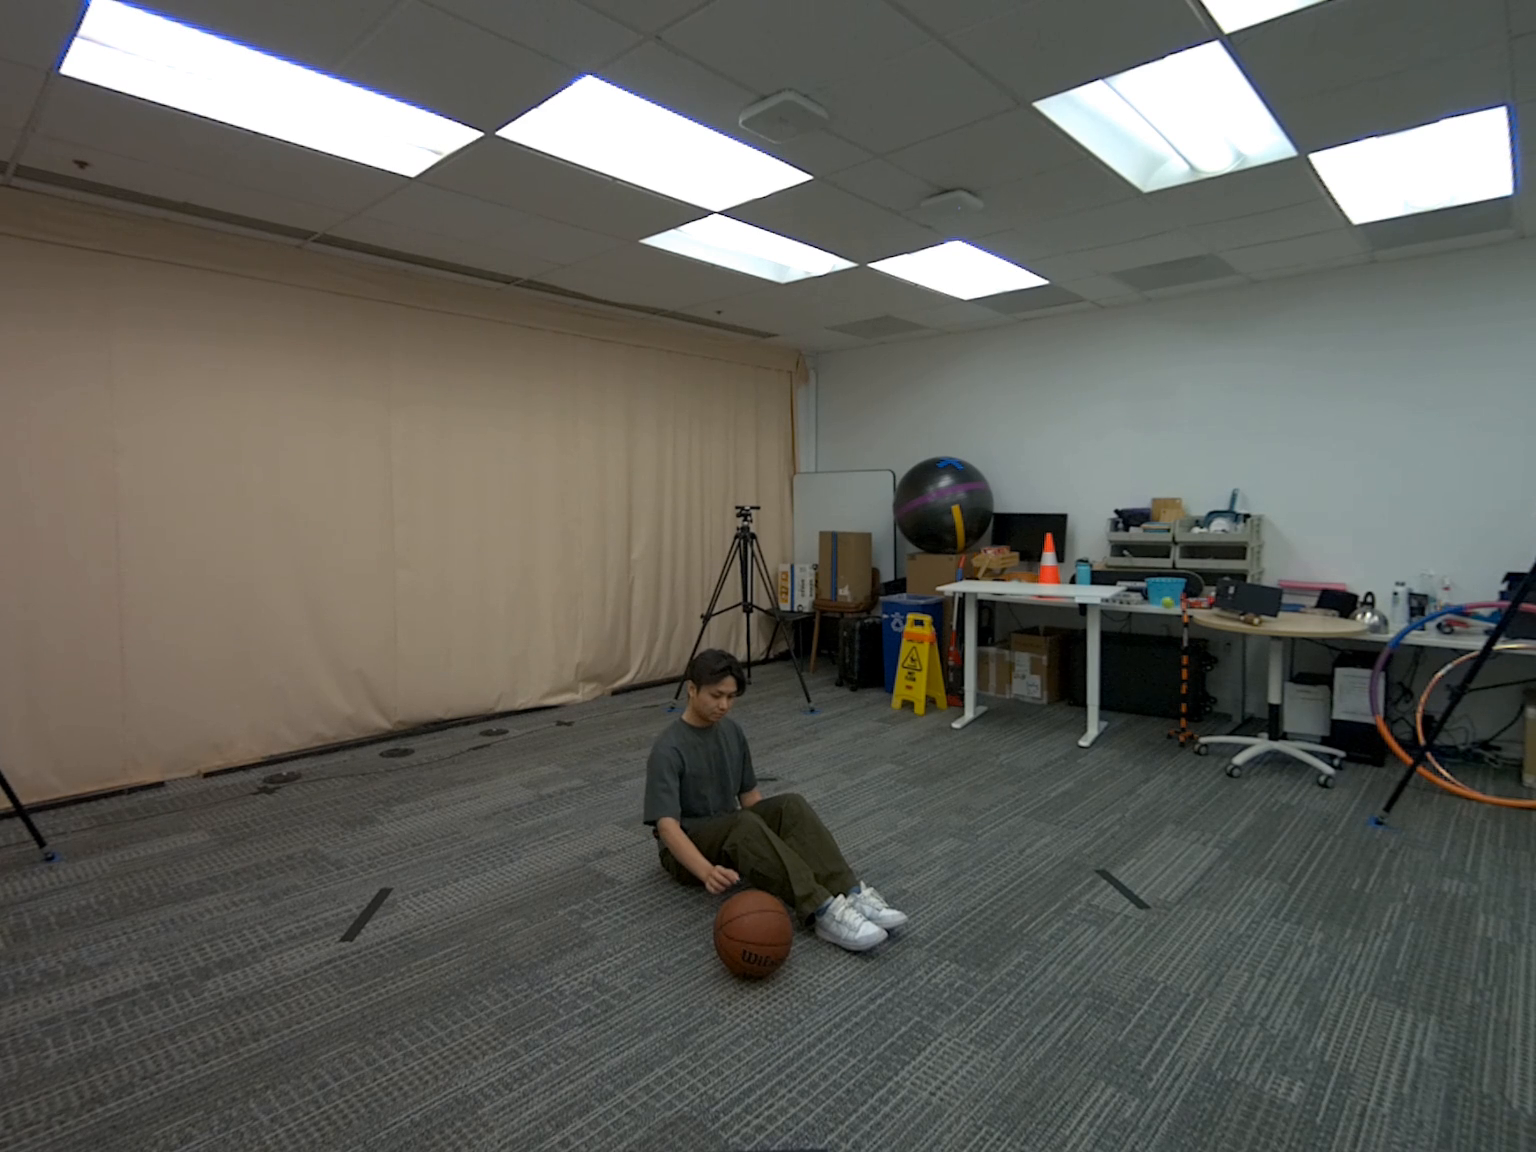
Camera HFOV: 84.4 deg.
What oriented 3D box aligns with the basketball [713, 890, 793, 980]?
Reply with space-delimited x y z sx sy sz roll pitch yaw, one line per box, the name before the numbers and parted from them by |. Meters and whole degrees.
basketball | -0.046 1.059 2.511 0.236 0.235 0.237 0 4 -2
